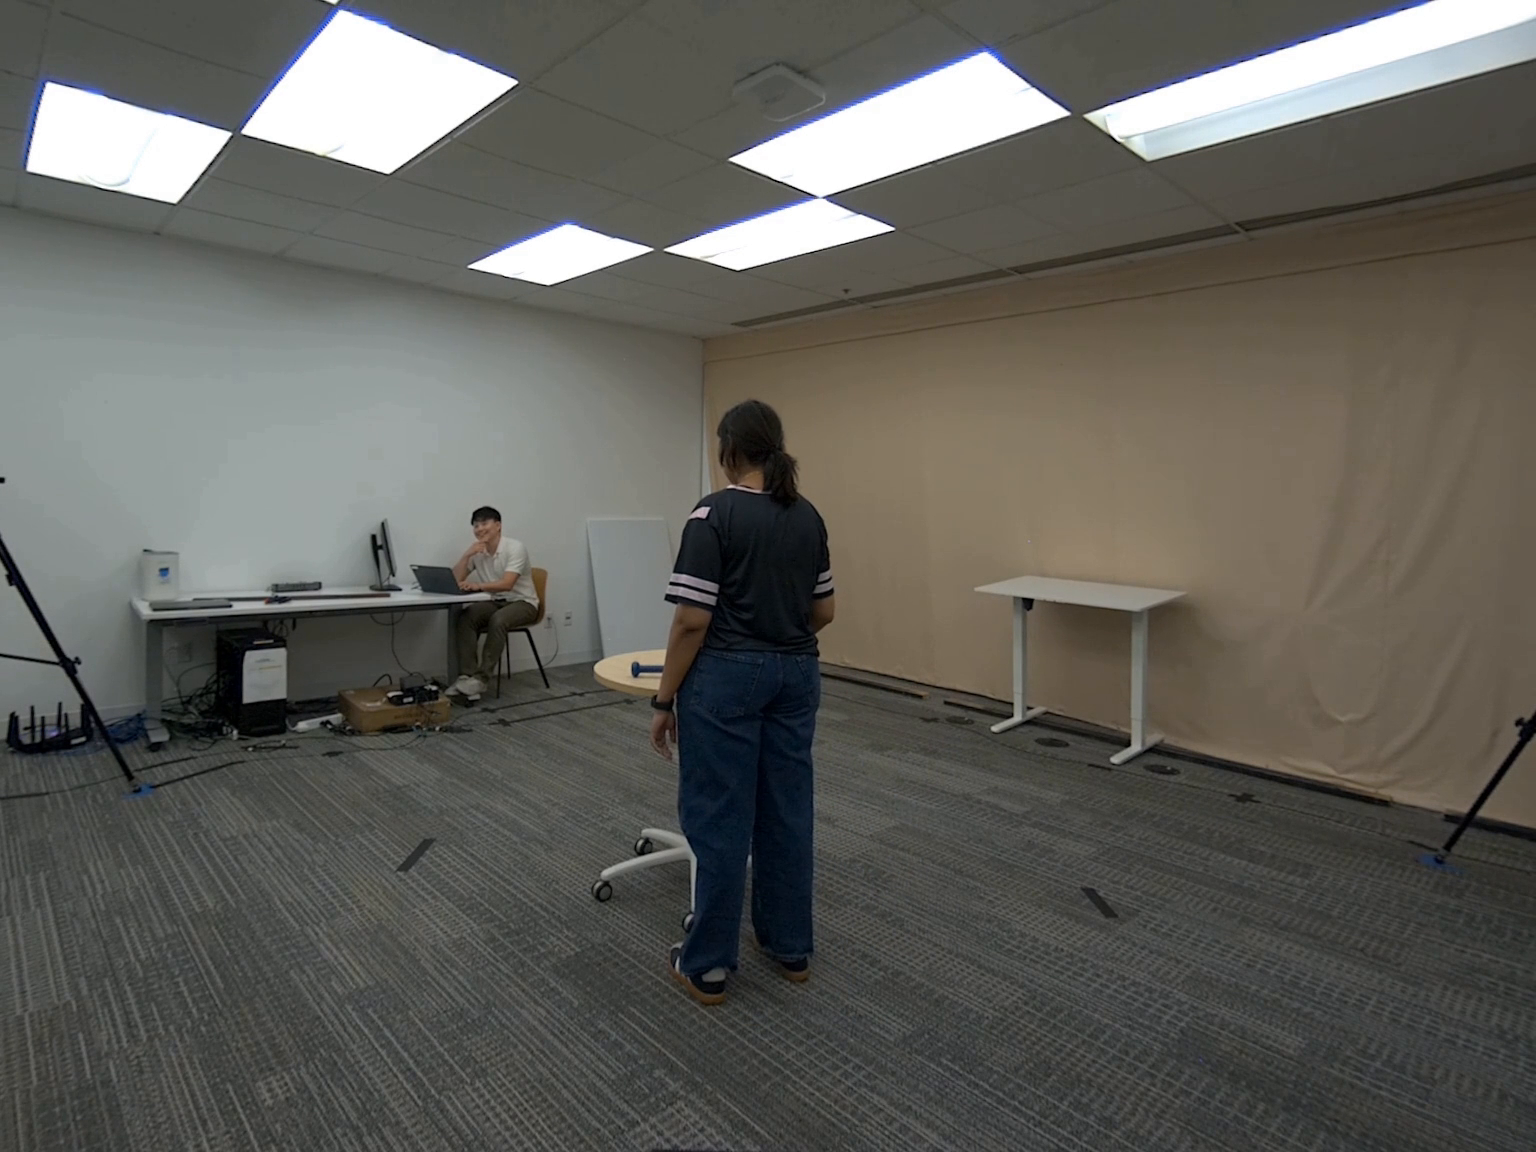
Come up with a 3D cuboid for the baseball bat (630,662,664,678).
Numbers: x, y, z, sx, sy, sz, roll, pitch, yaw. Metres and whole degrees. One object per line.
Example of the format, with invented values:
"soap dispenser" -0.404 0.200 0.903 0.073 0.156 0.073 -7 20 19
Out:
"baseball bat" -0.187 0.310 2.807 0.542 0.089 0.089 0 4 -2
